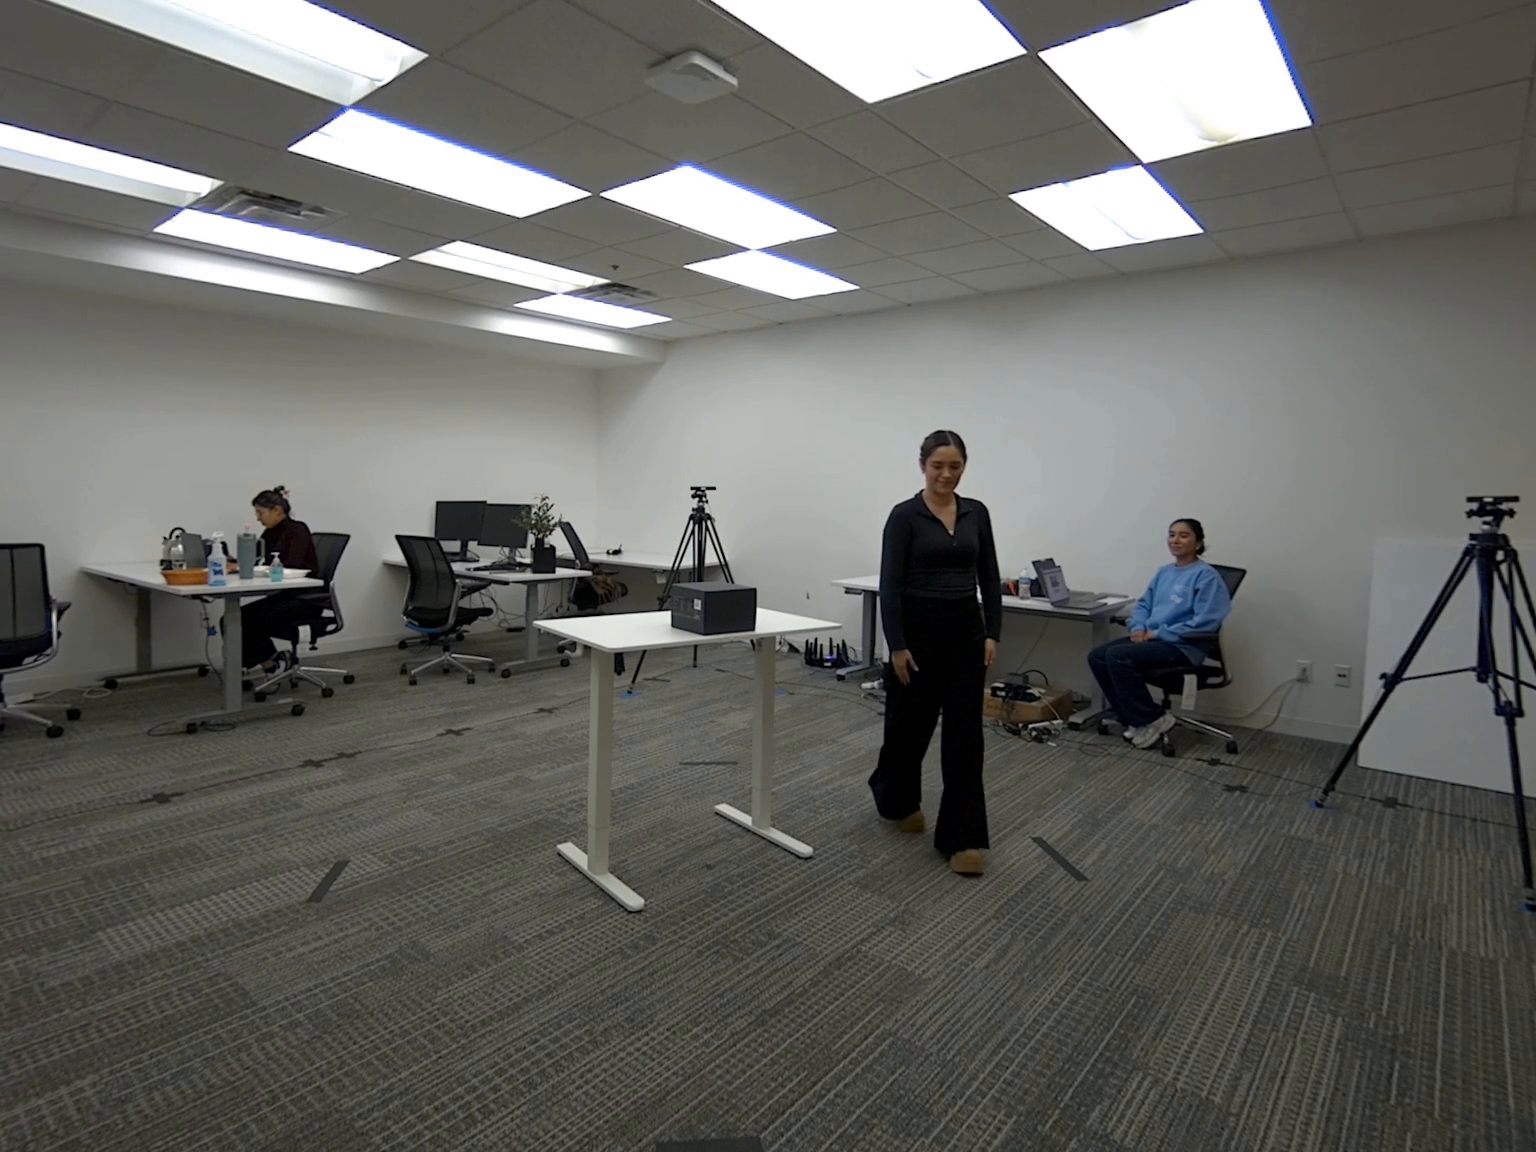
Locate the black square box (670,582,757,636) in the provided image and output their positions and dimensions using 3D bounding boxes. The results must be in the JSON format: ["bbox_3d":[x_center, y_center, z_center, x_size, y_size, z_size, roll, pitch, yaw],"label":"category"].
[{"bbox_3d":[-0.210,0.109,3.054,0.221,0.155,0.224,-2,6,-38],"label":"black square box"}]
